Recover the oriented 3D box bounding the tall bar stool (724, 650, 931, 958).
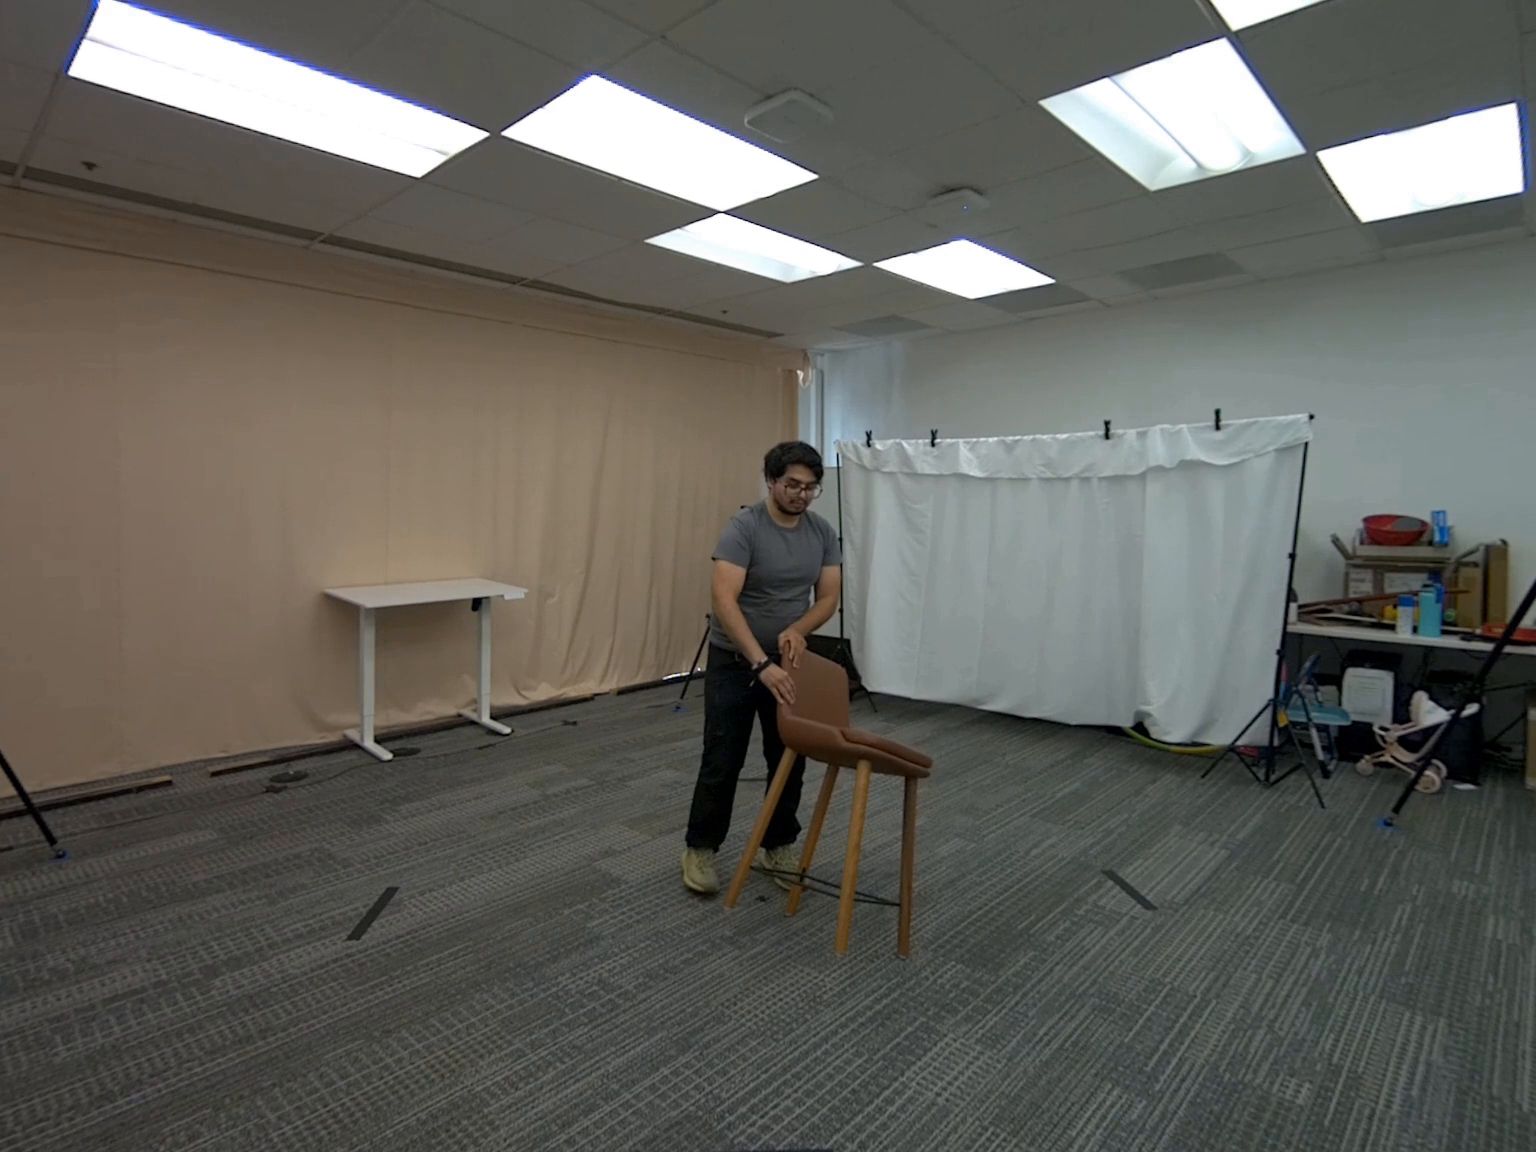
[{"bbox_3d":[0.238,0.692,2.723,0.482,0.895,0.440,-3,-22,40],"label":"tall bar stool"}]
